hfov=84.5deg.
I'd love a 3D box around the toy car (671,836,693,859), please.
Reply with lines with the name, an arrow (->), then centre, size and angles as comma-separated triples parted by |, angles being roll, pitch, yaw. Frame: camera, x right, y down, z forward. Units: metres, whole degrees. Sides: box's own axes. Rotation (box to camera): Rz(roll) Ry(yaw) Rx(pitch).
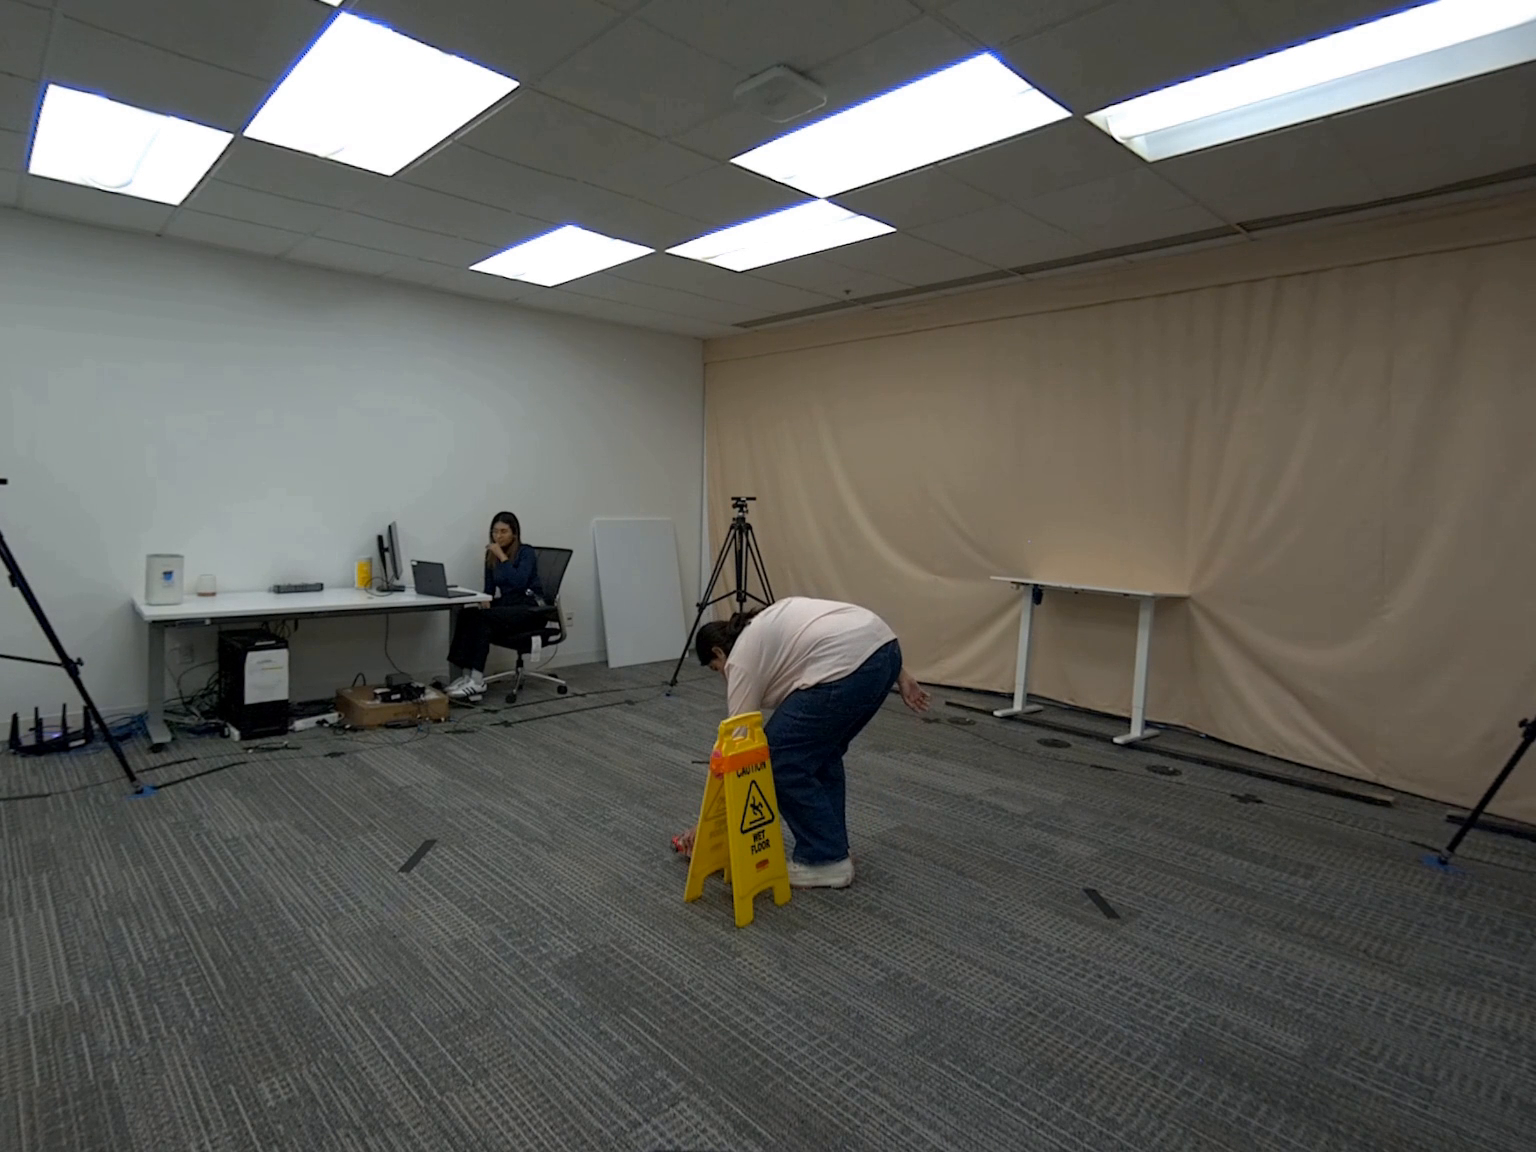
toy car -> -0.251, 1.038, 3.173 | 0.127, 0.083, 0.260 | -2, -3, -41
